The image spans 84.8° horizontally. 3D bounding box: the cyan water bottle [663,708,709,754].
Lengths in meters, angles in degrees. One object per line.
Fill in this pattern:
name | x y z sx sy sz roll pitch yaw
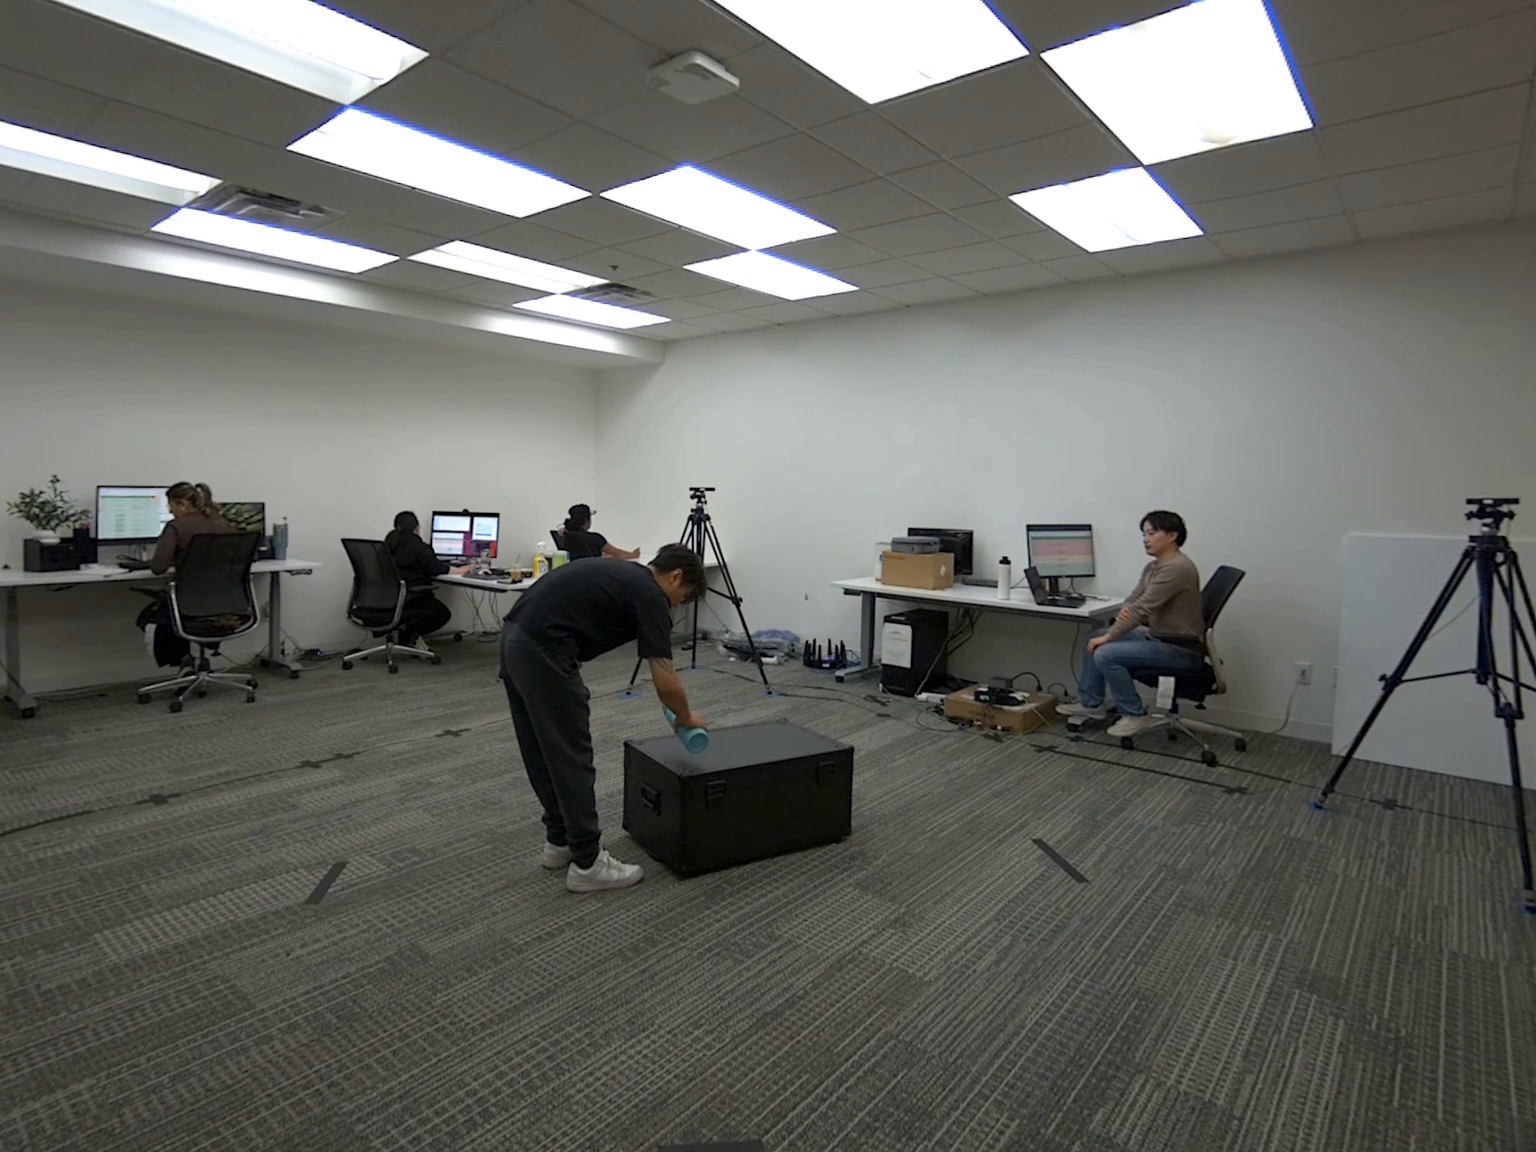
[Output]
cyan water bottle | -0.327 0.553 3.224 0.090 0.091 0.294 -1 22 -26
